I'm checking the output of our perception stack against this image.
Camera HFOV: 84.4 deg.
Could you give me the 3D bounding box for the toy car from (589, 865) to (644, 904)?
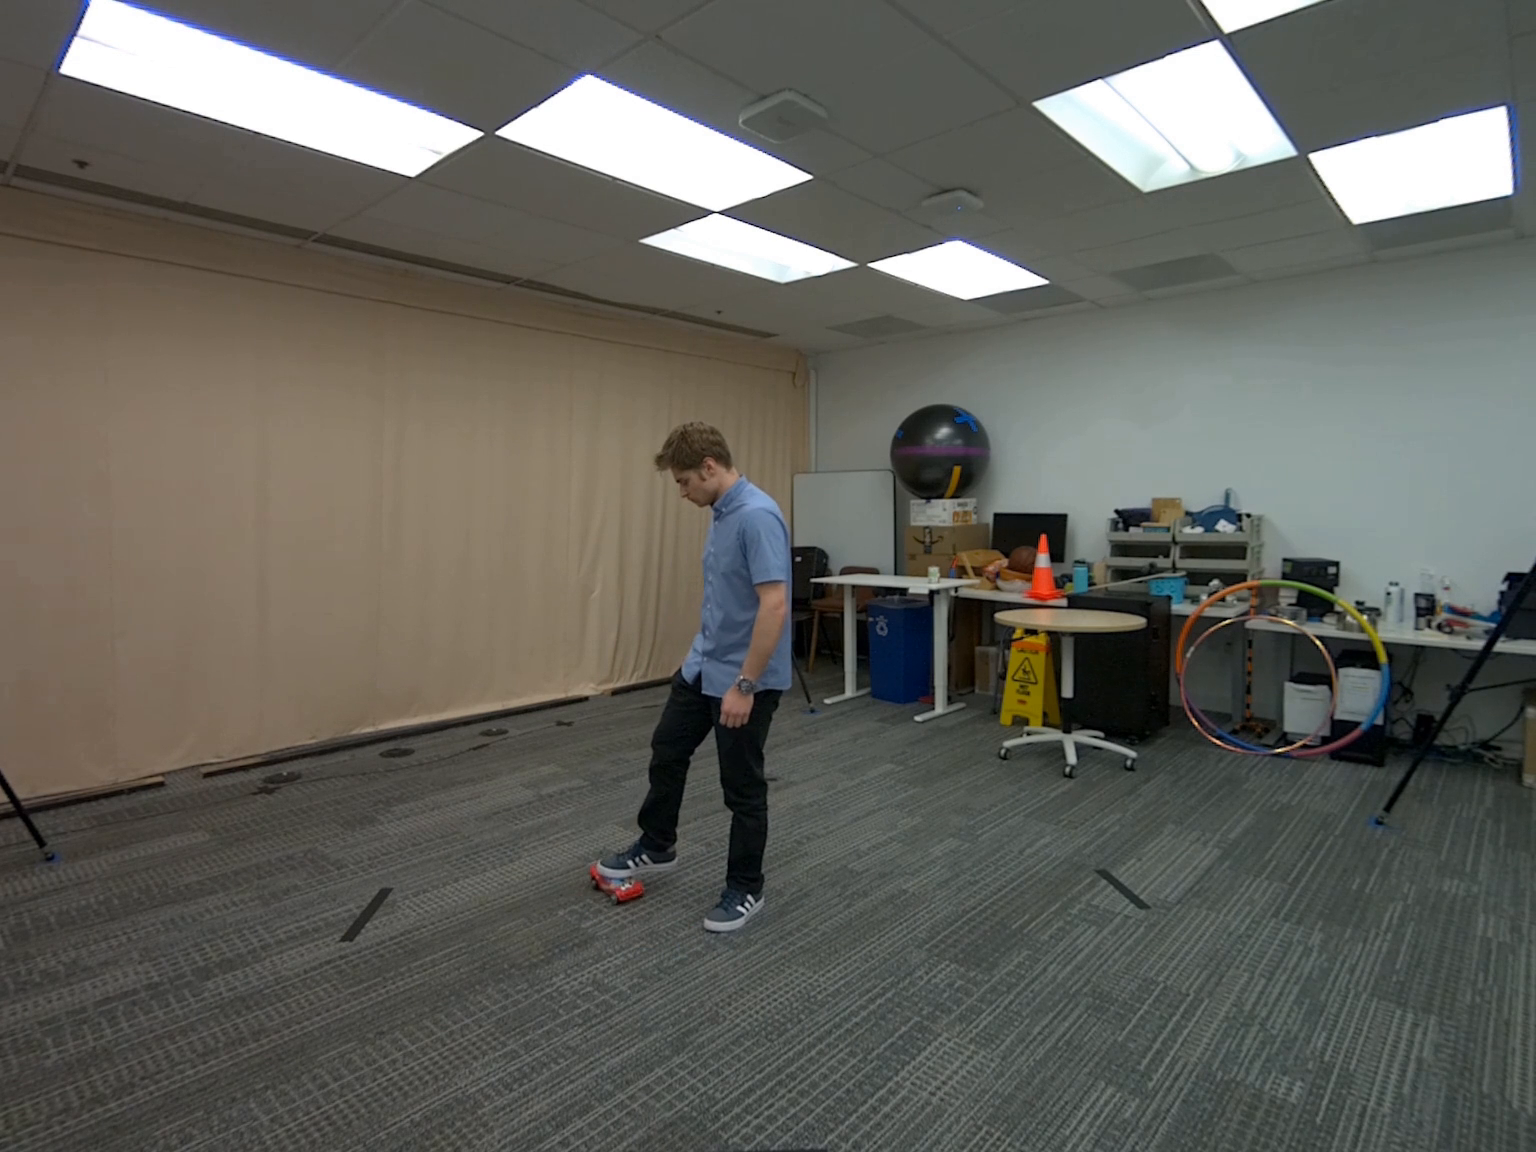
[{"bbox_3d":[-0.555,1.112,3.053,0.126,0.083,0.264,-3,16,-37],"label":"toy car"}]
